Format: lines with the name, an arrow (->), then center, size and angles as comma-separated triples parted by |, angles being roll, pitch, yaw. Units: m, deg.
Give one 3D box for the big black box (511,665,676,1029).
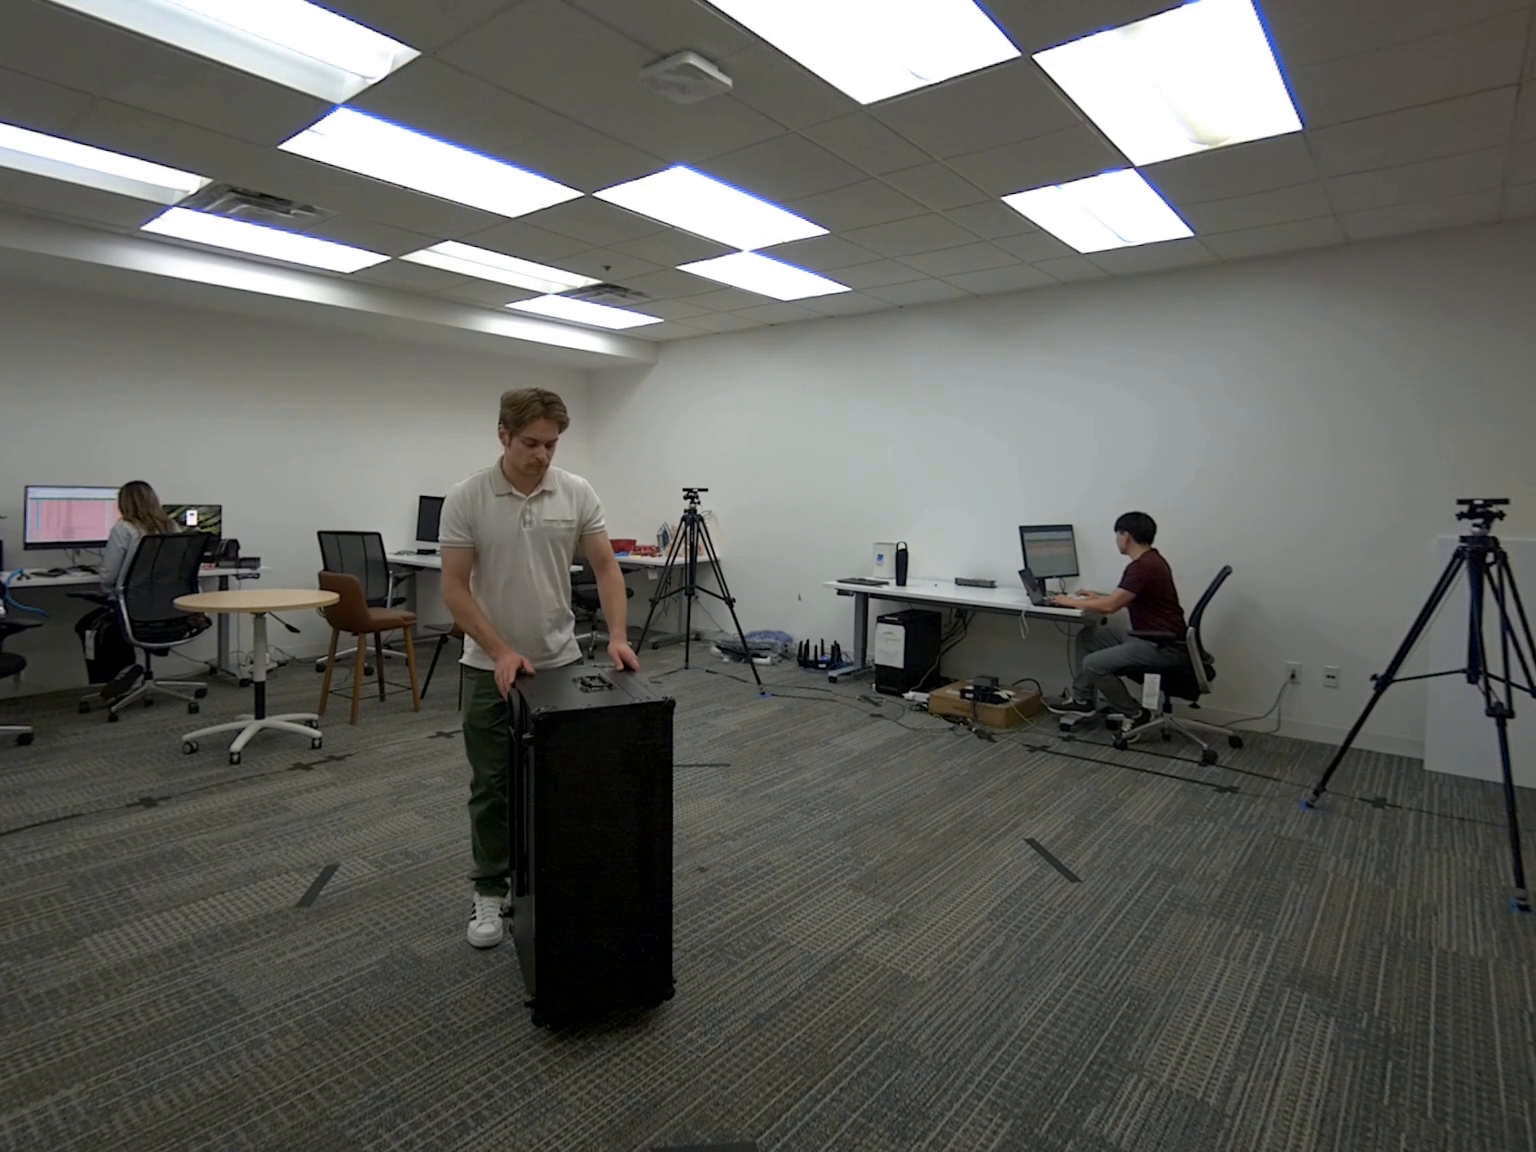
big black box -> -0.506, 0.722, 2.328 | 0.377, 0.865, 0.536 | -1, 4, -21
